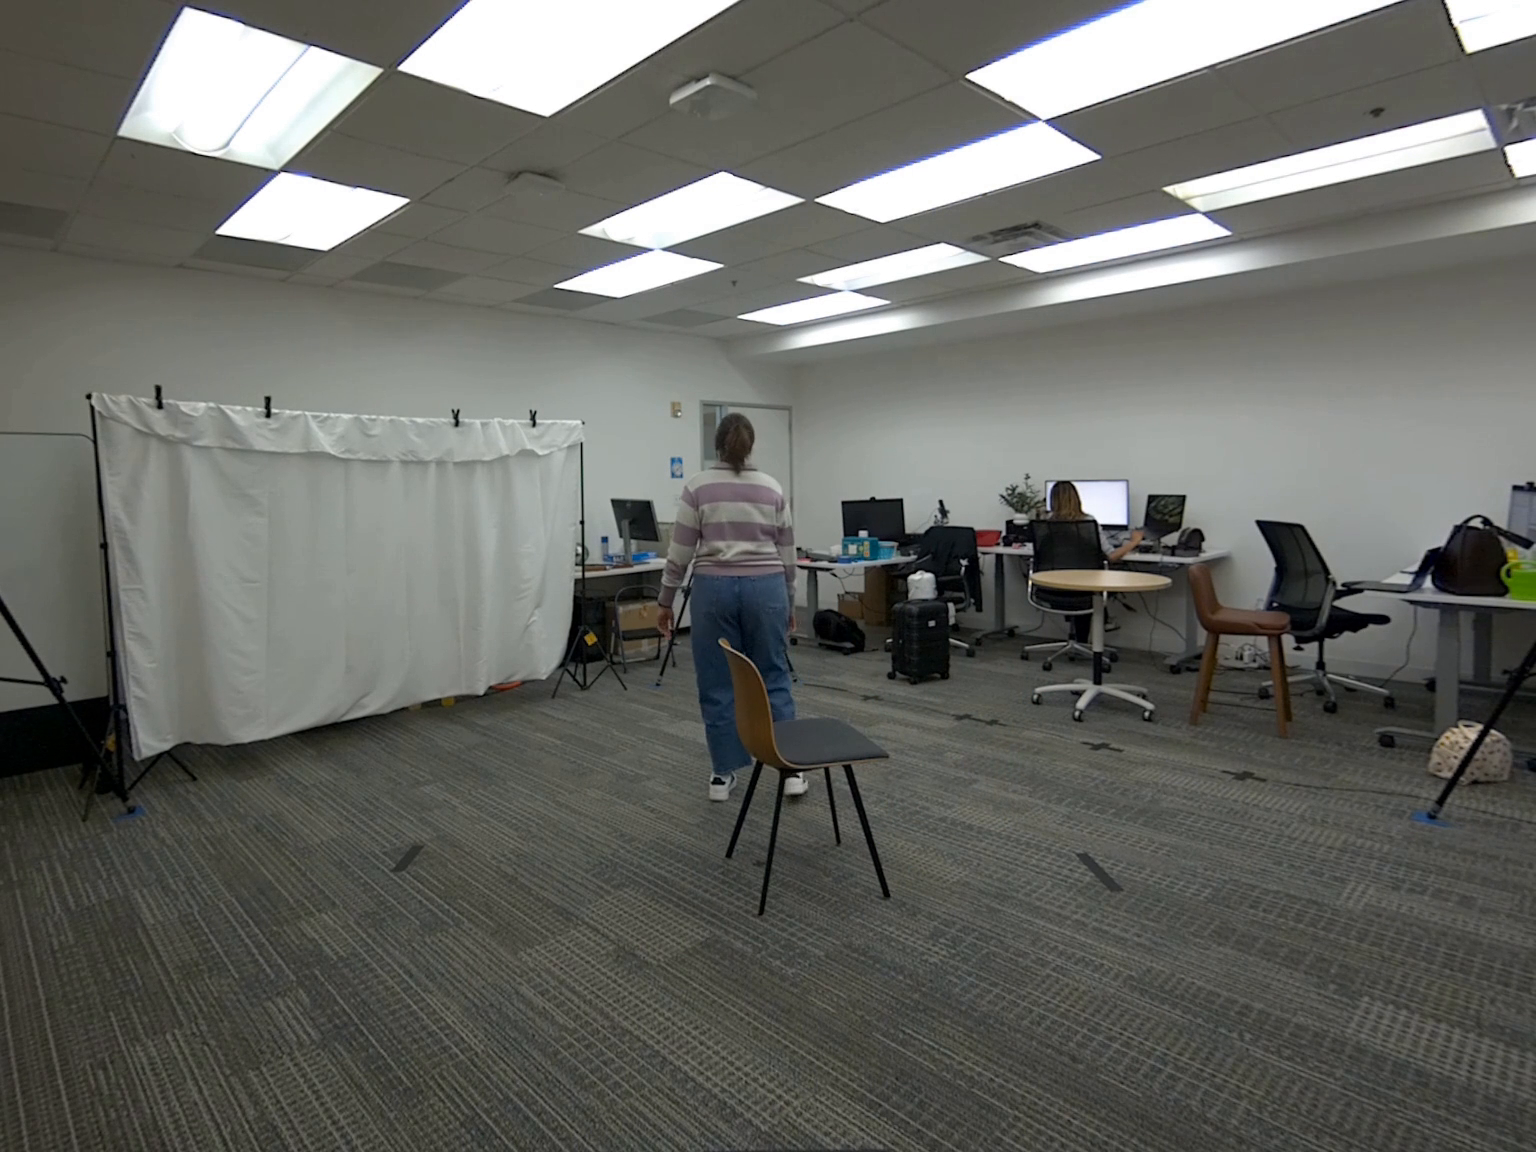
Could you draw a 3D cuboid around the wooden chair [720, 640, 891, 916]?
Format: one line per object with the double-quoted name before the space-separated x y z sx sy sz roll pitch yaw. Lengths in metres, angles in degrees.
"wooden chair" 0.126 0.635 2.975 0.517 0.874 0.486 -6 5 -15
